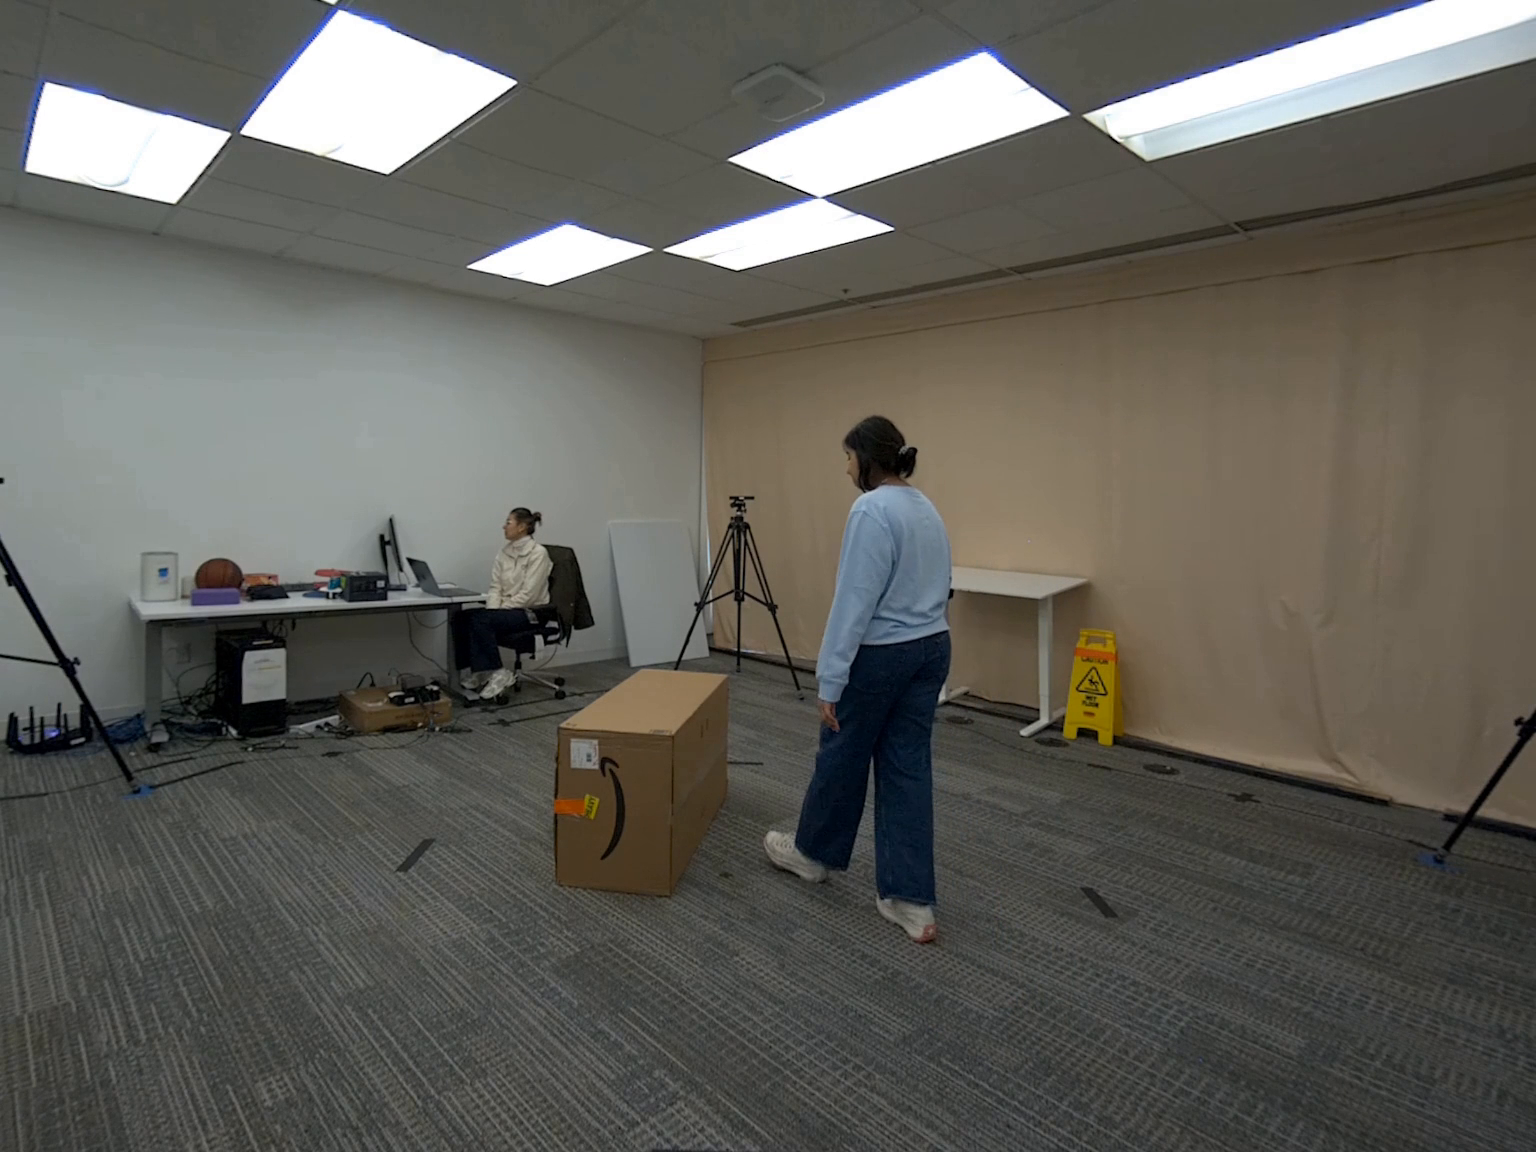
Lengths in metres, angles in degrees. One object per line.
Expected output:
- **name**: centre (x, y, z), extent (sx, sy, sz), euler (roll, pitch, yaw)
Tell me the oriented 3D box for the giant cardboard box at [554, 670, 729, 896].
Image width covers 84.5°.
- **giant cardboard box**: centre (-0.478, 0.775, 3.449), extent (0.430, 0.576, 1.020), euler (1, 5, 9)
